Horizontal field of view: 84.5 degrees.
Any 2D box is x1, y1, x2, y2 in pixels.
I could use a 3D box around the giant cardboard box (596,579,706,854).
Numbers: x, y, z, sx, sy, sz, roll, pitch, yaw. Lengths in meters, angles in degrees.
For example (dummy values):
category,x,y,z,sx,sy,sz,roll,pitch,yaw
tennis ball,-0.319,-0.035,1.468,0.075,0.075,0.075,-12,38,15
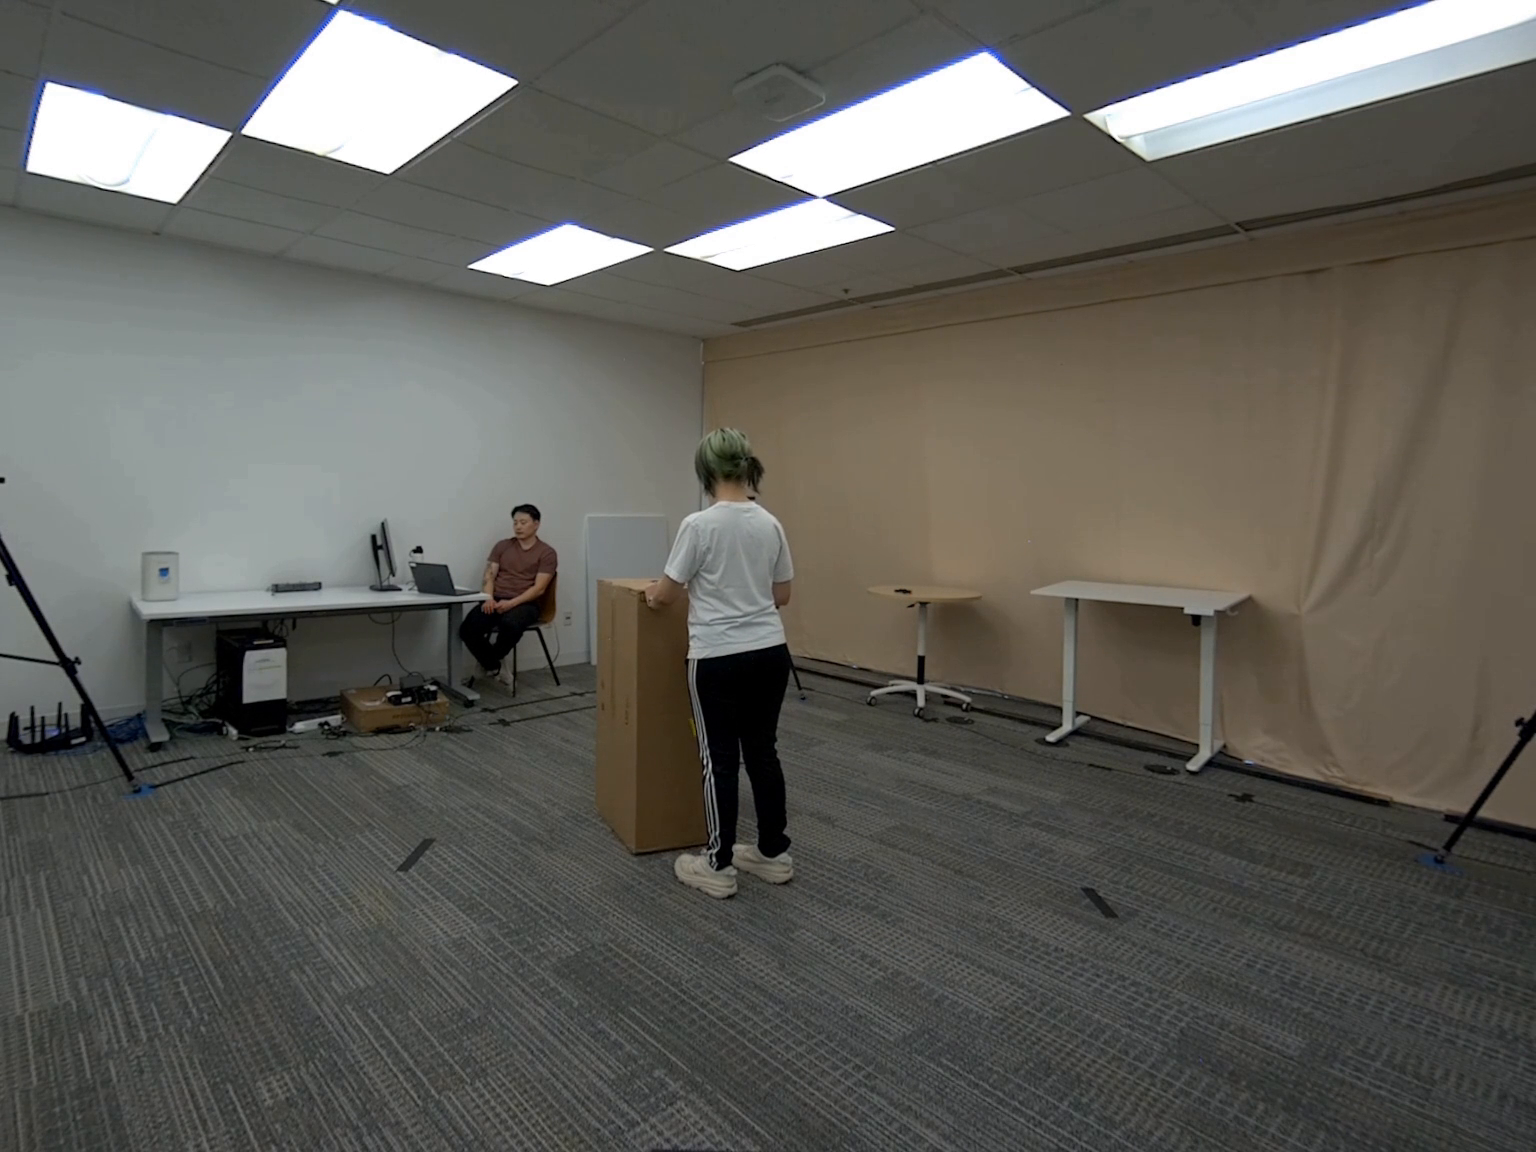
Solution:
category,x,y,z,sx,sy,sz,roll,pitch,yaw
giant cardboard box,-0.459,0.544,3.578,0.438,1.026,0.596,-1,2,-27
